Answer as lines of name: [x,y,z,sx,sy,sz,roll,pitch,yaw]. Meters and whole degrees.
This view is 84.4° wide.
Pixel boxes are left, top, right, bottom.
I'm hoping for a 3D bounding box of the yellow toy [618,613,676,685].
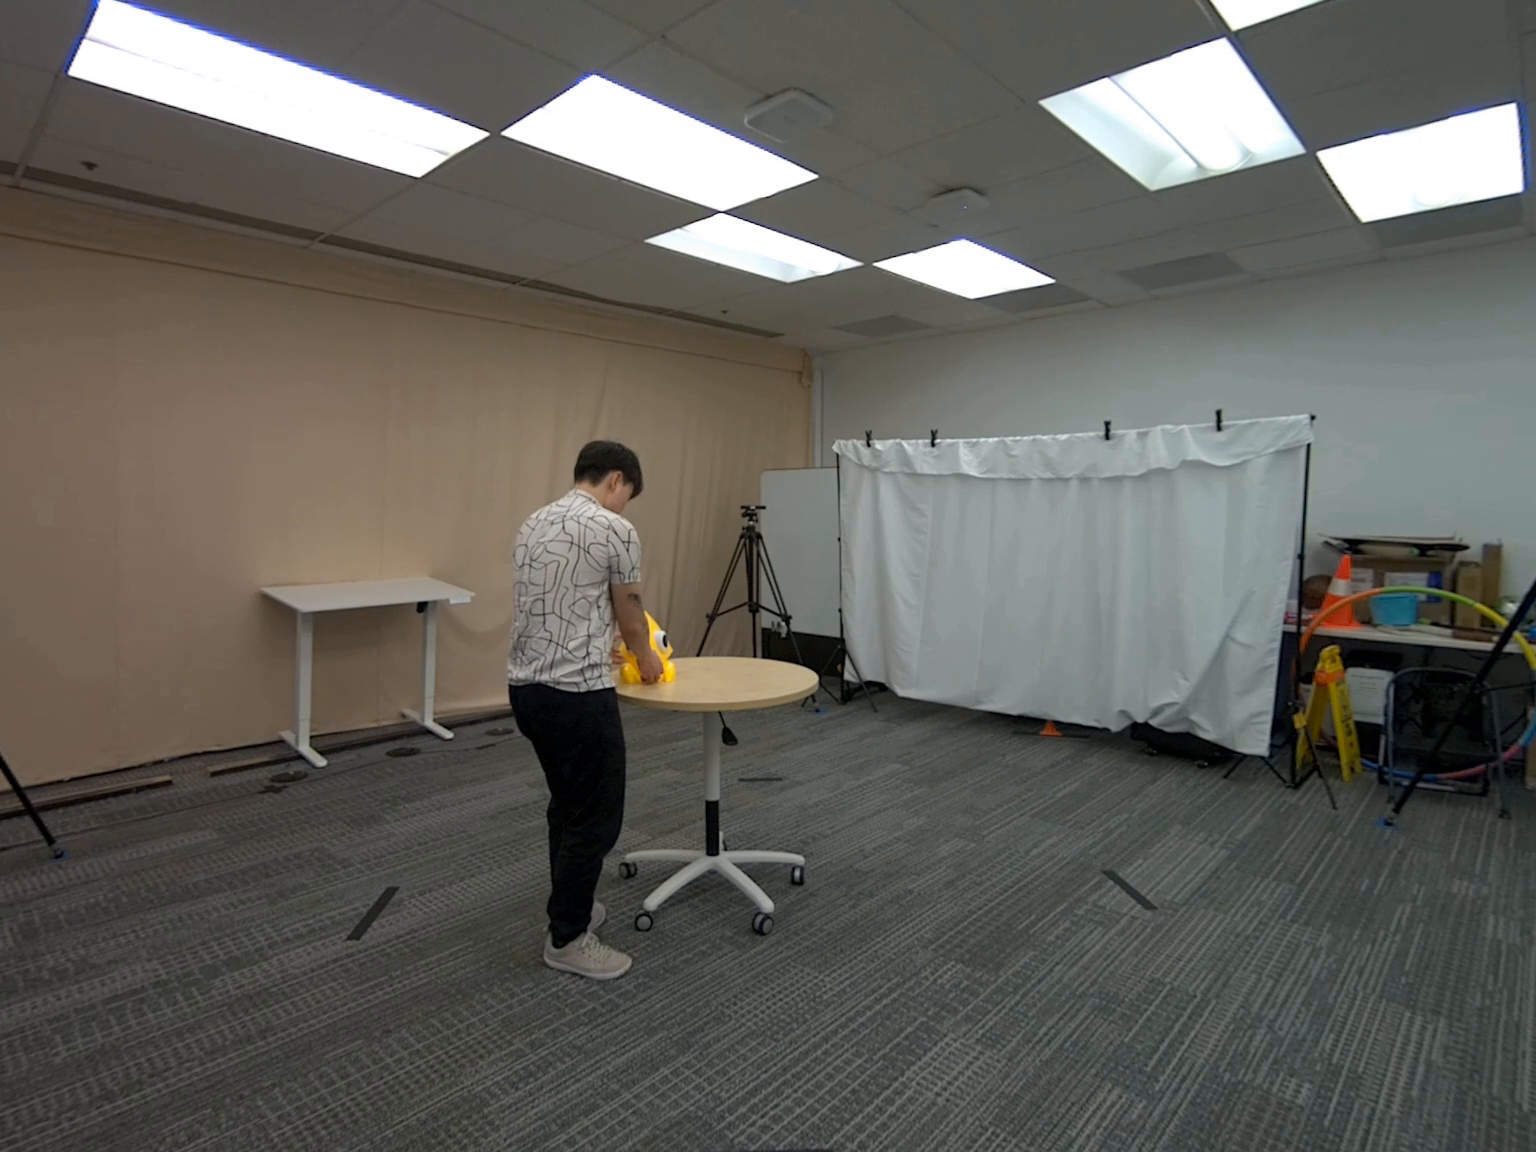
yellow toy: [-0.427,0.250,2.990,0.203,0.230,0.196,-1,4,-11]
